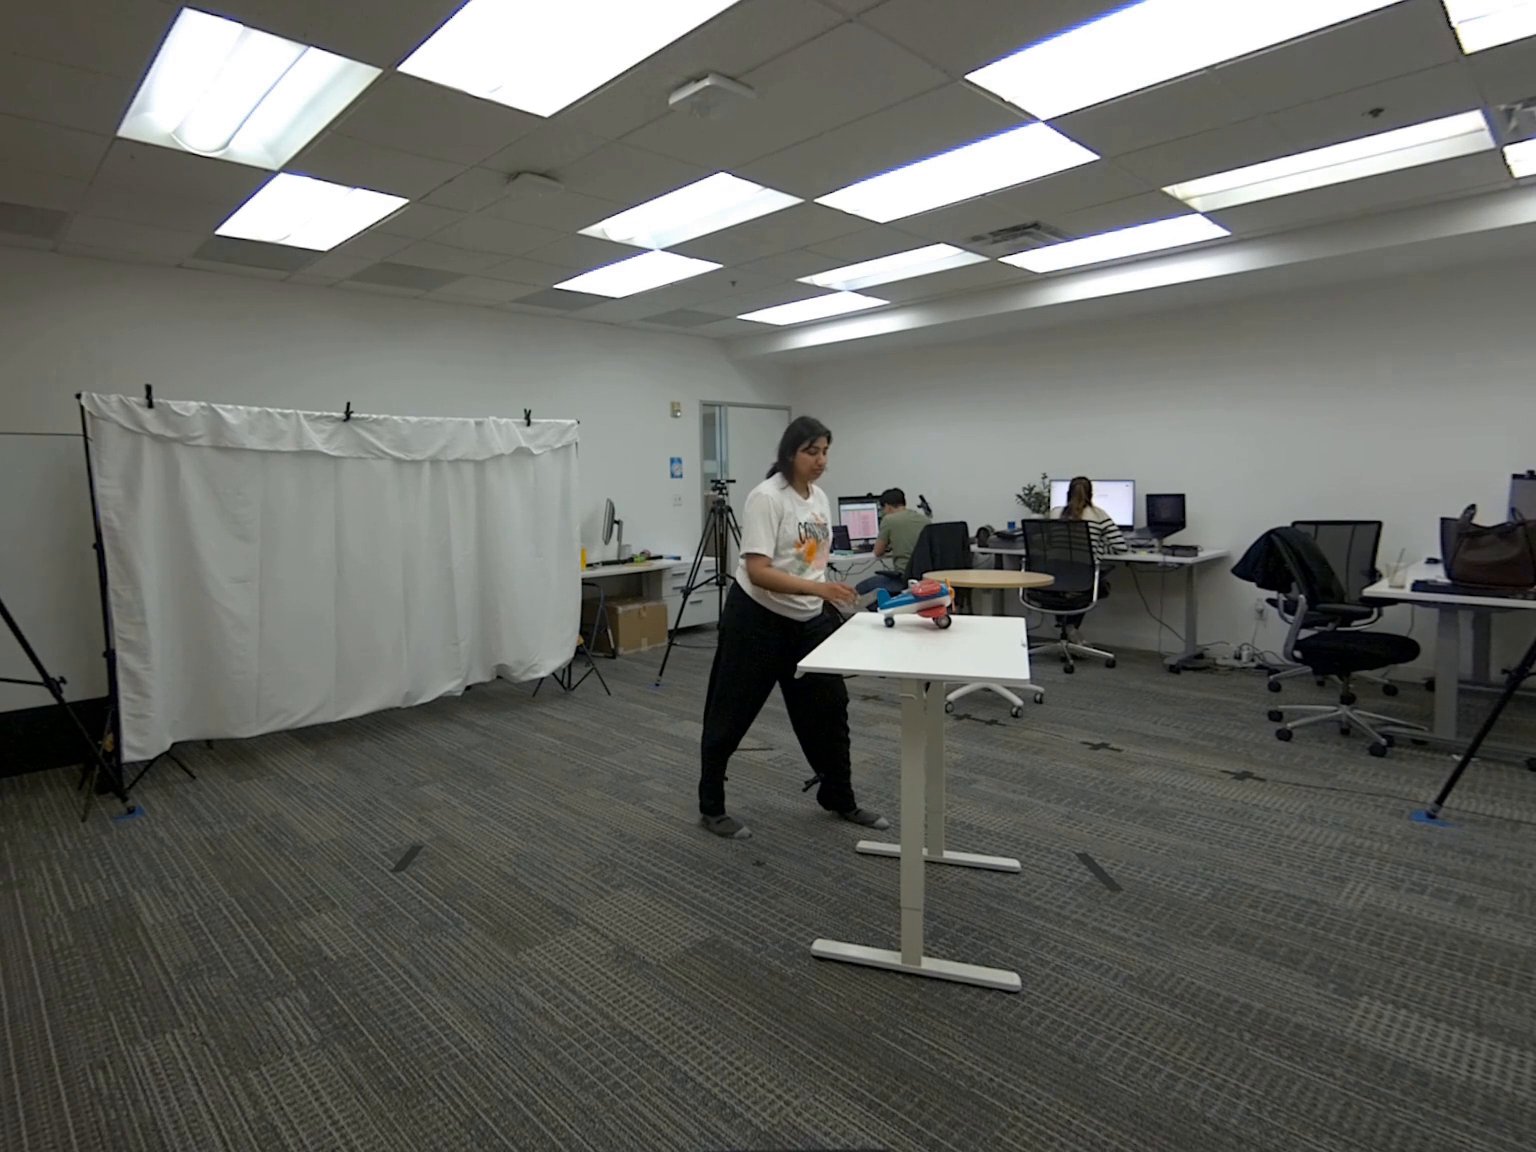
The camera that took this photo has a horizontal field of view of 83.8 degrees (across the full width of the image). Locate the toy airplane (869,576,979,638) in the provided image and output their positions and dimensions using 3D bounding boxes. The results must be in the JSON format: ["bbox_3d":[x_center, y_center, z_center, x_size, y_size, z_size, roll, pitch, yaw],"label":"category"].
[{"bbox_3d":[0.525,0.098,2.916,0.254,0.156,0.257,-2,7,-22],"label":"toy airplane"}]
